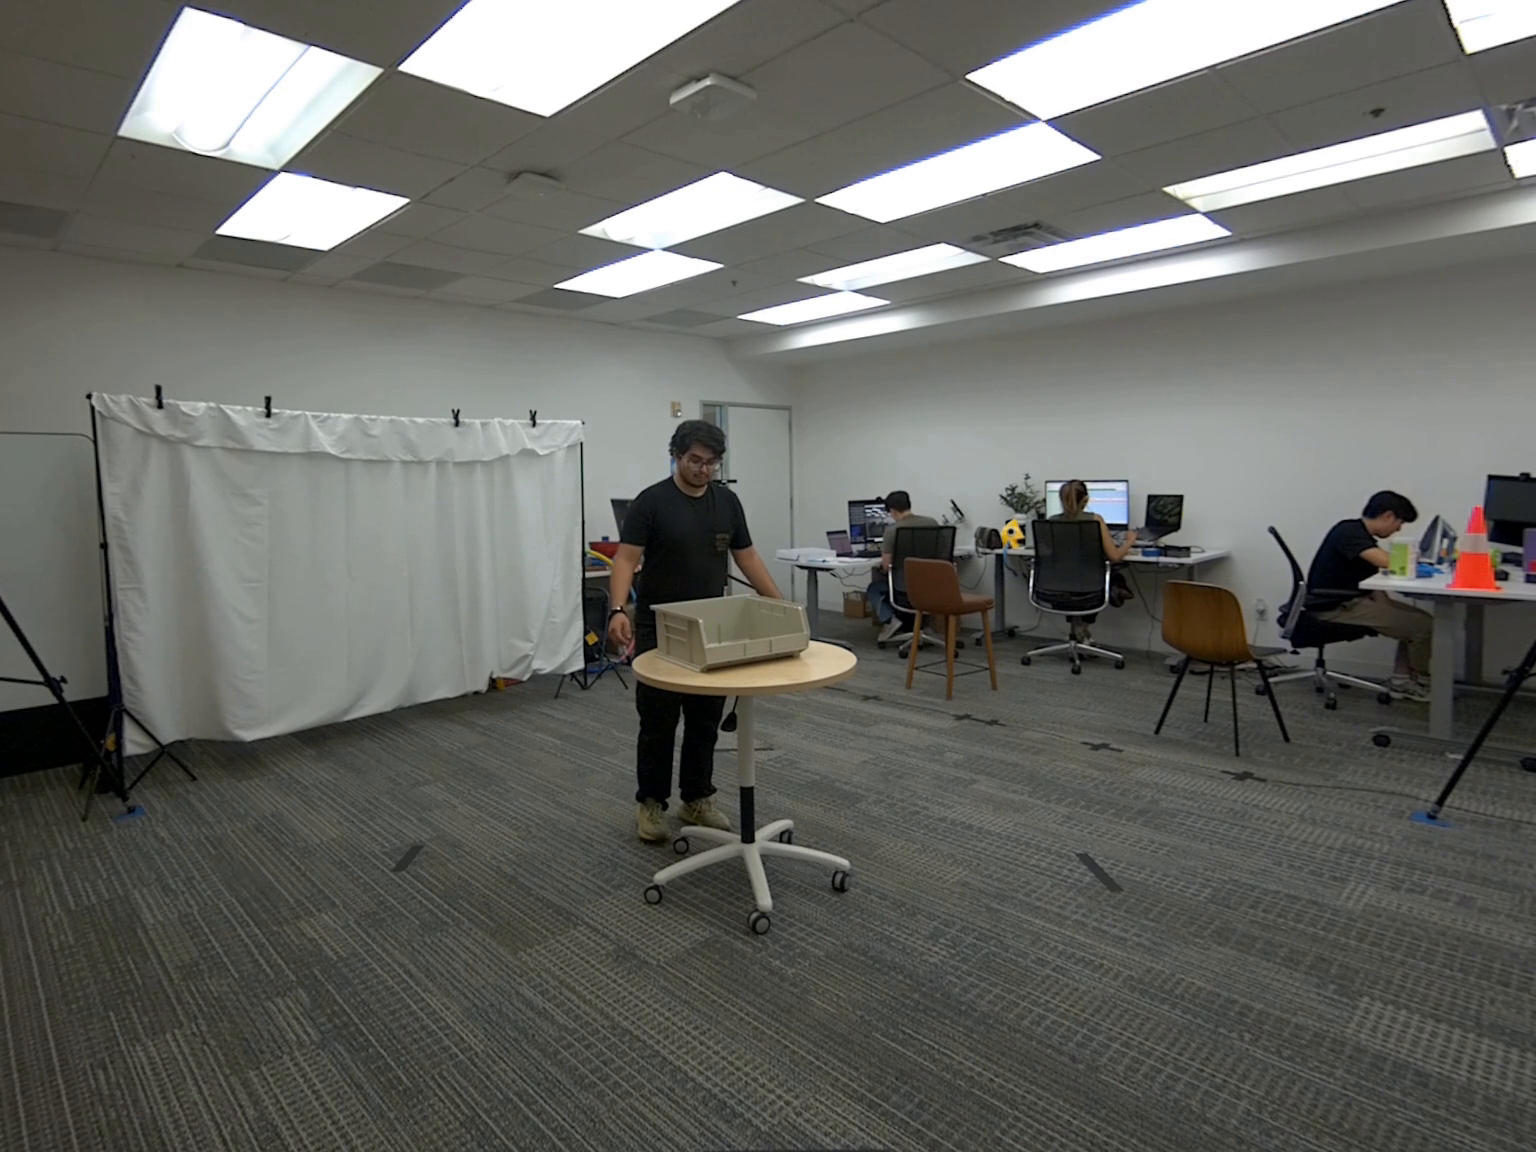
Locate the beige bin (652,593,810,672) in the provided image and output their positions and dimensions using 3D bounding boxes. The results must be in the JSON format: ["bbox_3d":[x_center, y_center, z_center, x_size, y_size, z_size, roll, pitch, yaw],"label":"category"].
[{"bbox_3d":[-0.129,0.195,2.959,0.412,0.188,0.388,-6,7,-33],"label":"beige bin"}]
